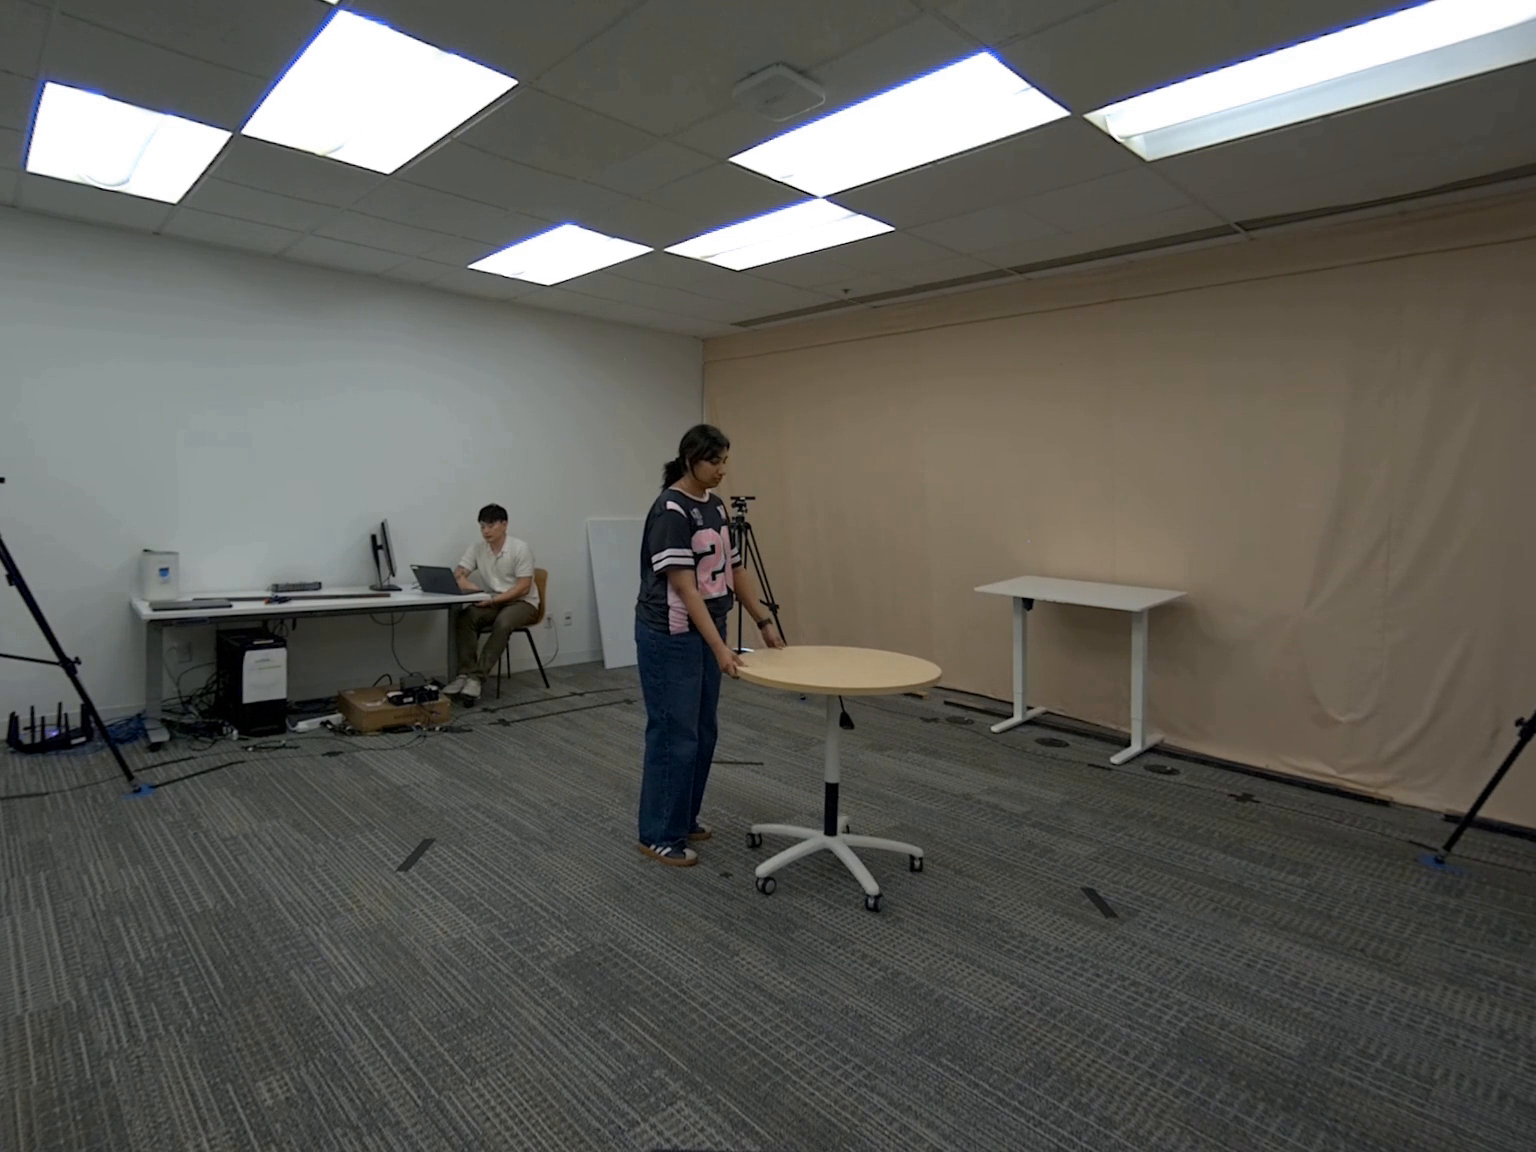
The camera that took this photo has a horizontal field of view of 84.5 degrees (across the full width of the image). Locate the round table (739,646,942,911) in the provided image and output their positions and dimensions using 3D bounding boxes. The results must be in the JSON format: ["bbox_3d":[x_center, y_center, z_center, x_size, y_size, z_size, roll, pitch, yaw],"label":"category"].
[{"bbox_3d":[0.223,0.714,3.155,0.784,0.784,0.788,2,4,-1],"label":"round table"}]
